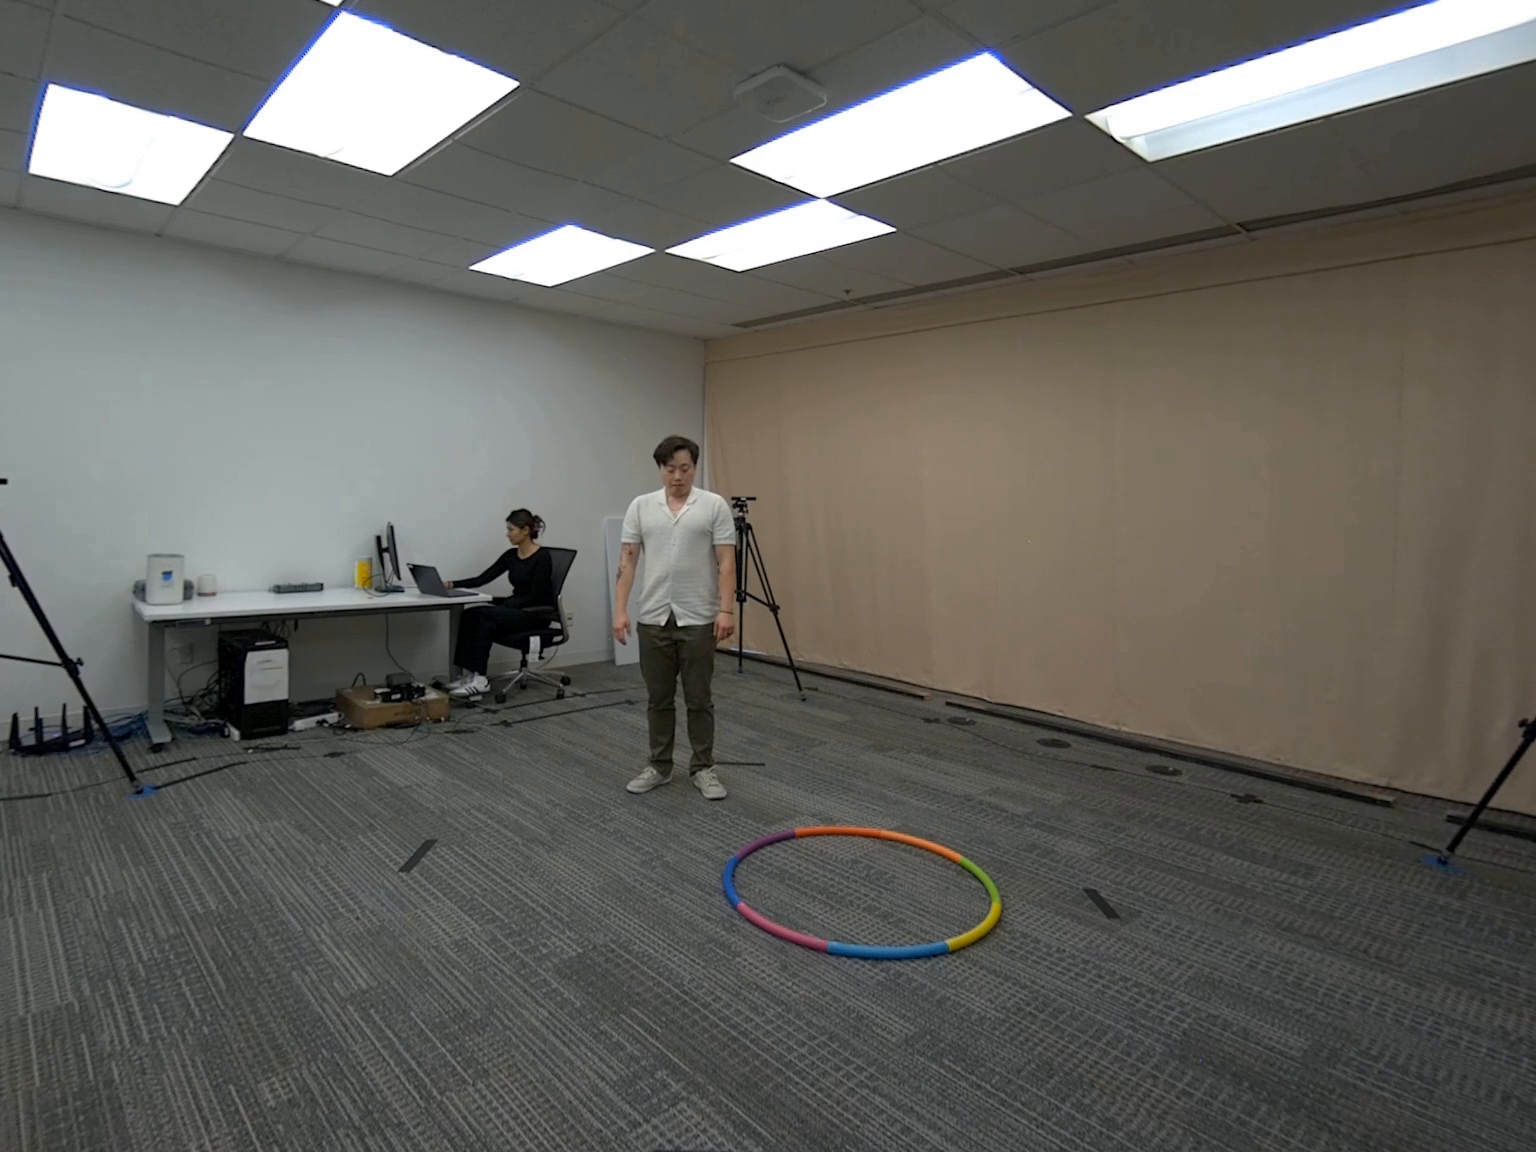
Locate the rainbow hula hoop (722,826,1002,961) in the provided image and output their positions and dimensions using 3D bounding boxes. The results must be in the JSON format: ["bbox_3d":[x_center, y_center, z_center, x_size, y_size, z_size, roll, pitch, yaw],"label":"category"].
[{"bbox_3d":[0.313,1.093,3.045,0.978,0.035,0.982,1,5,-1],"label":"rainbow hula hoop"}]
